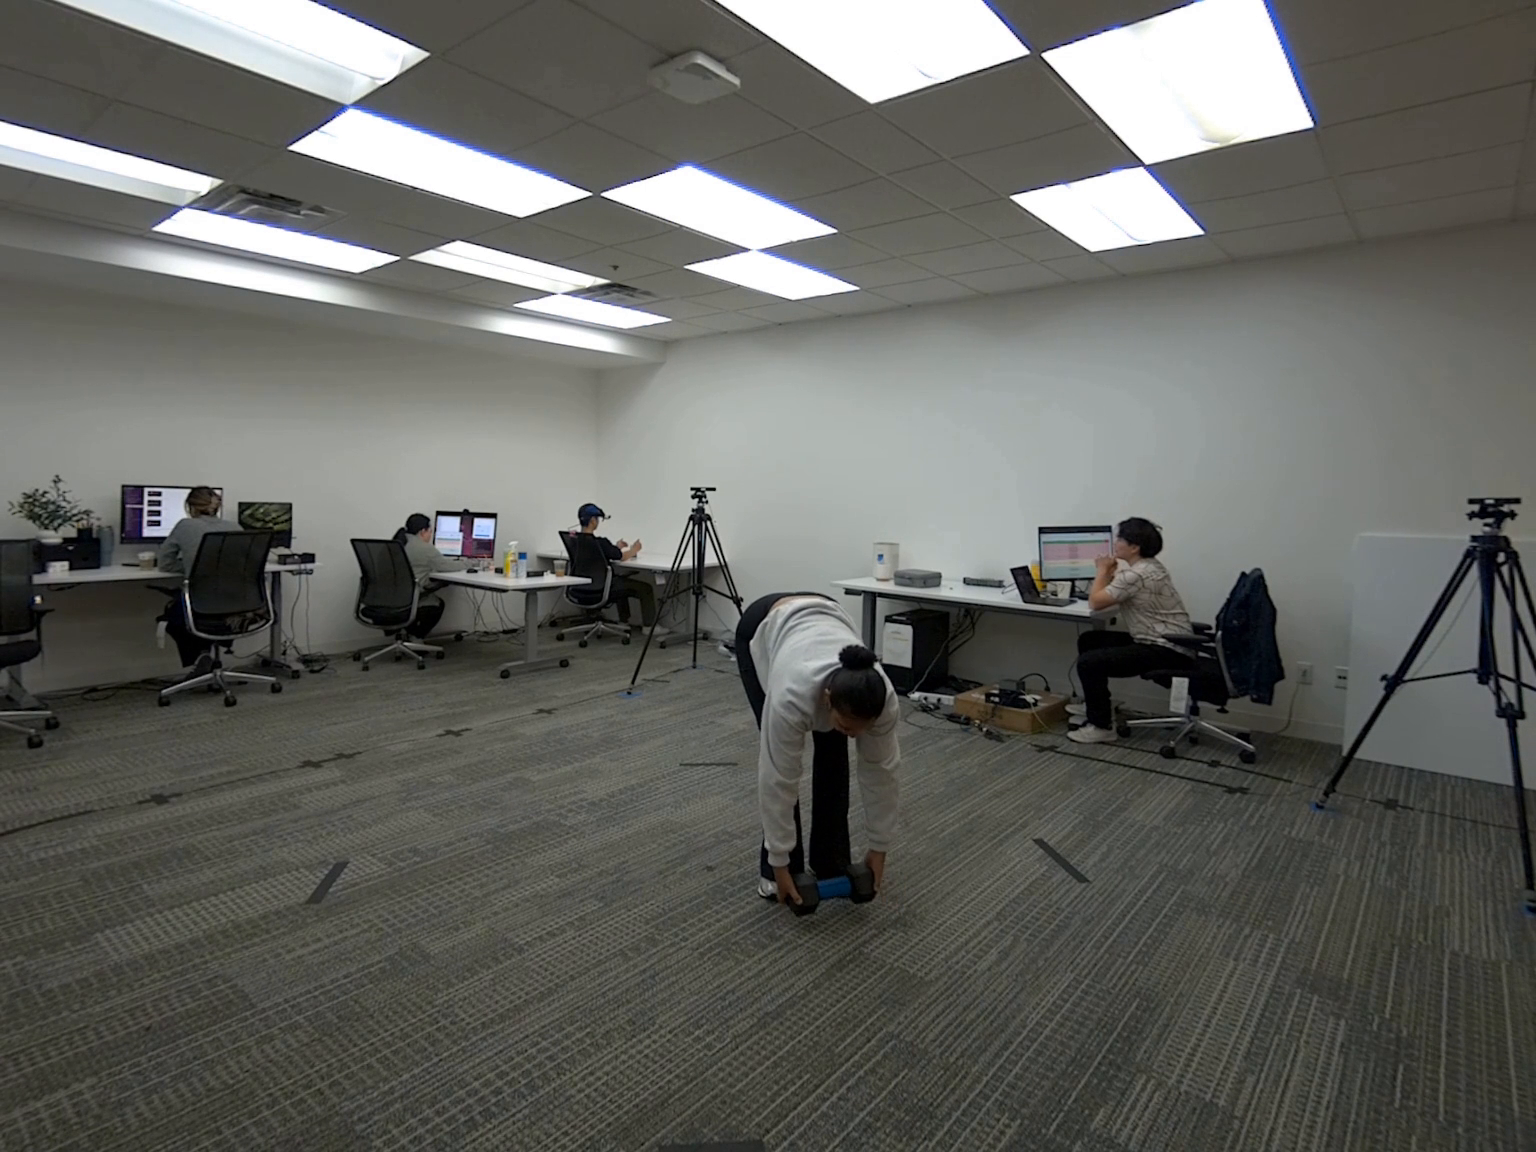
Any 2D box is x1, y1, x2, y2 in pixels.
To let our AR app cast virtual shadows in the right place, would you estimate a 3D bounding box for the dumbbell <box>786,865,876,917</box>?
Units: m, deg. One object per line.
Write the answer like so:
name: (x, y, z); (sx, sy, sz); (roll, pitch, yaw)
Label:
dumbbell: (0.200, 0.999, 2.759); (0.288, 0.126, 0.108); (-2, -22, -21)
